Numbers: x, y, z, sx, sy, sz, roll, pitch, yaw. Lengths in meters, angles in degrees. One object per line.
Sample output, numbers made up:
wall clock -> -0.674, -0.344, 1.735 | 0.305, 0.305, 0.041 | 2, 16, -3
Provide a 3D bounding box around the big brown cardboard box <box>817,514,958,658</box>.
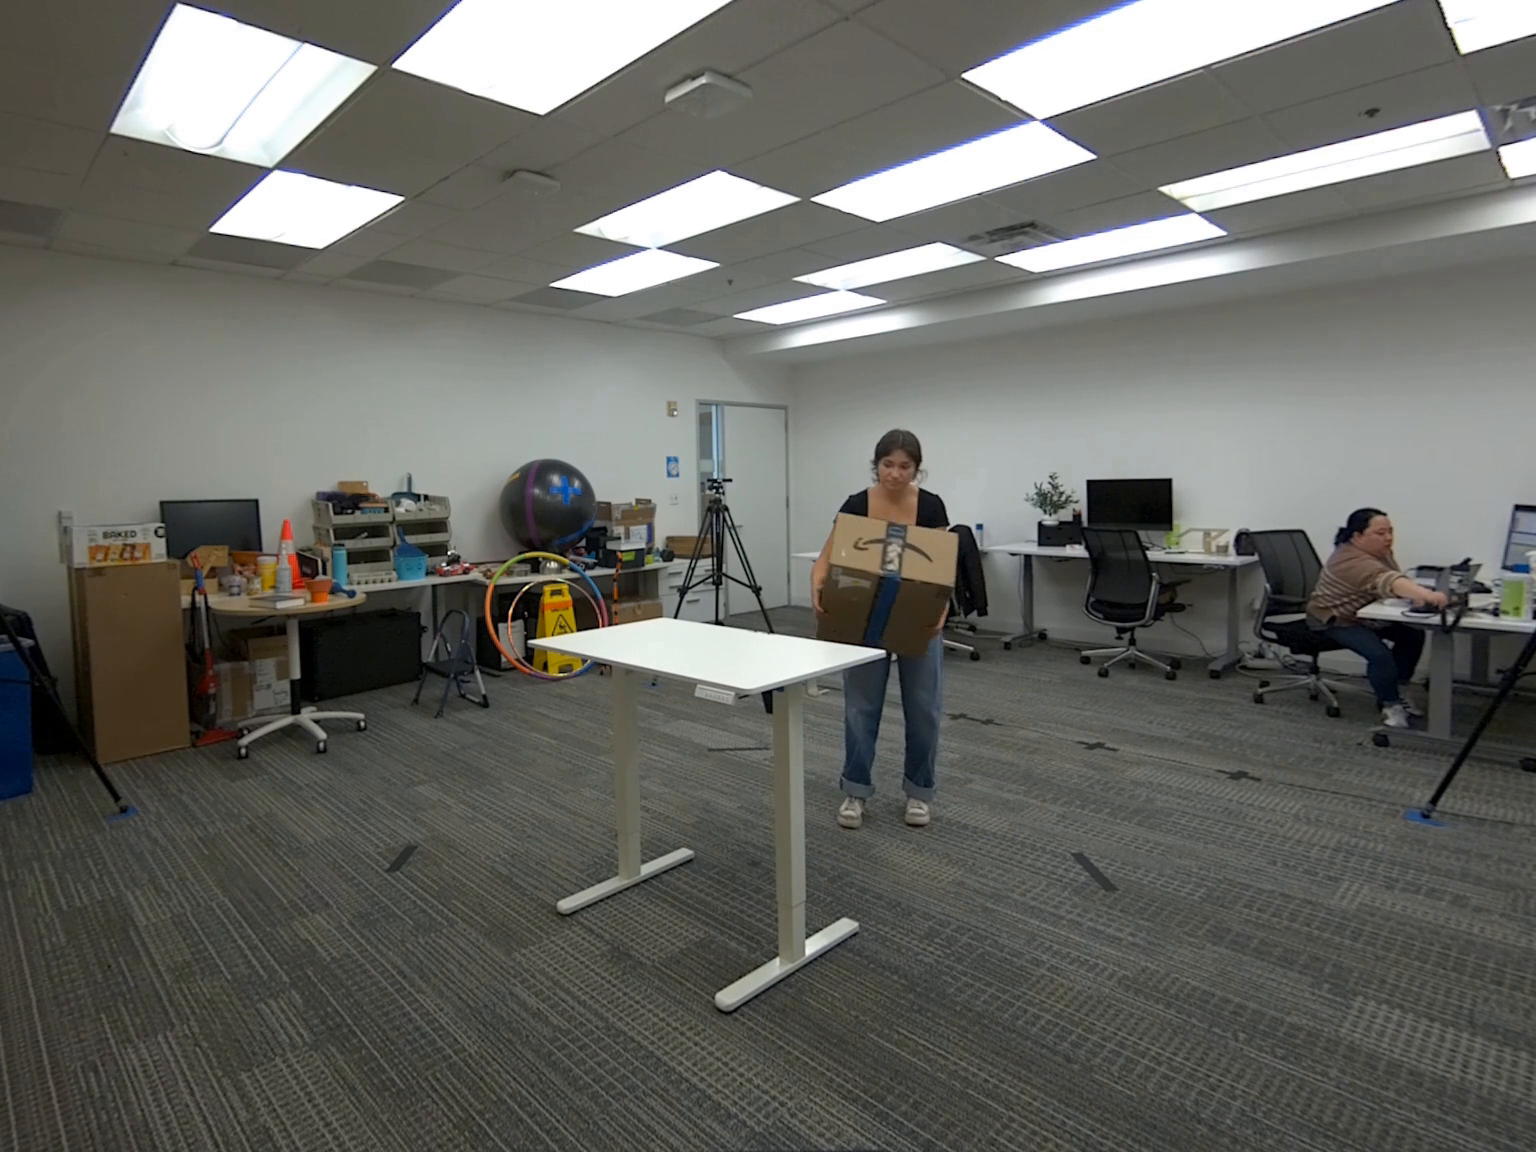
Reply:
big brown cardboard box -> 0.418, 0.056, 3.092 | 0.421, 0.237, 0.574 | 11, -29, 7
